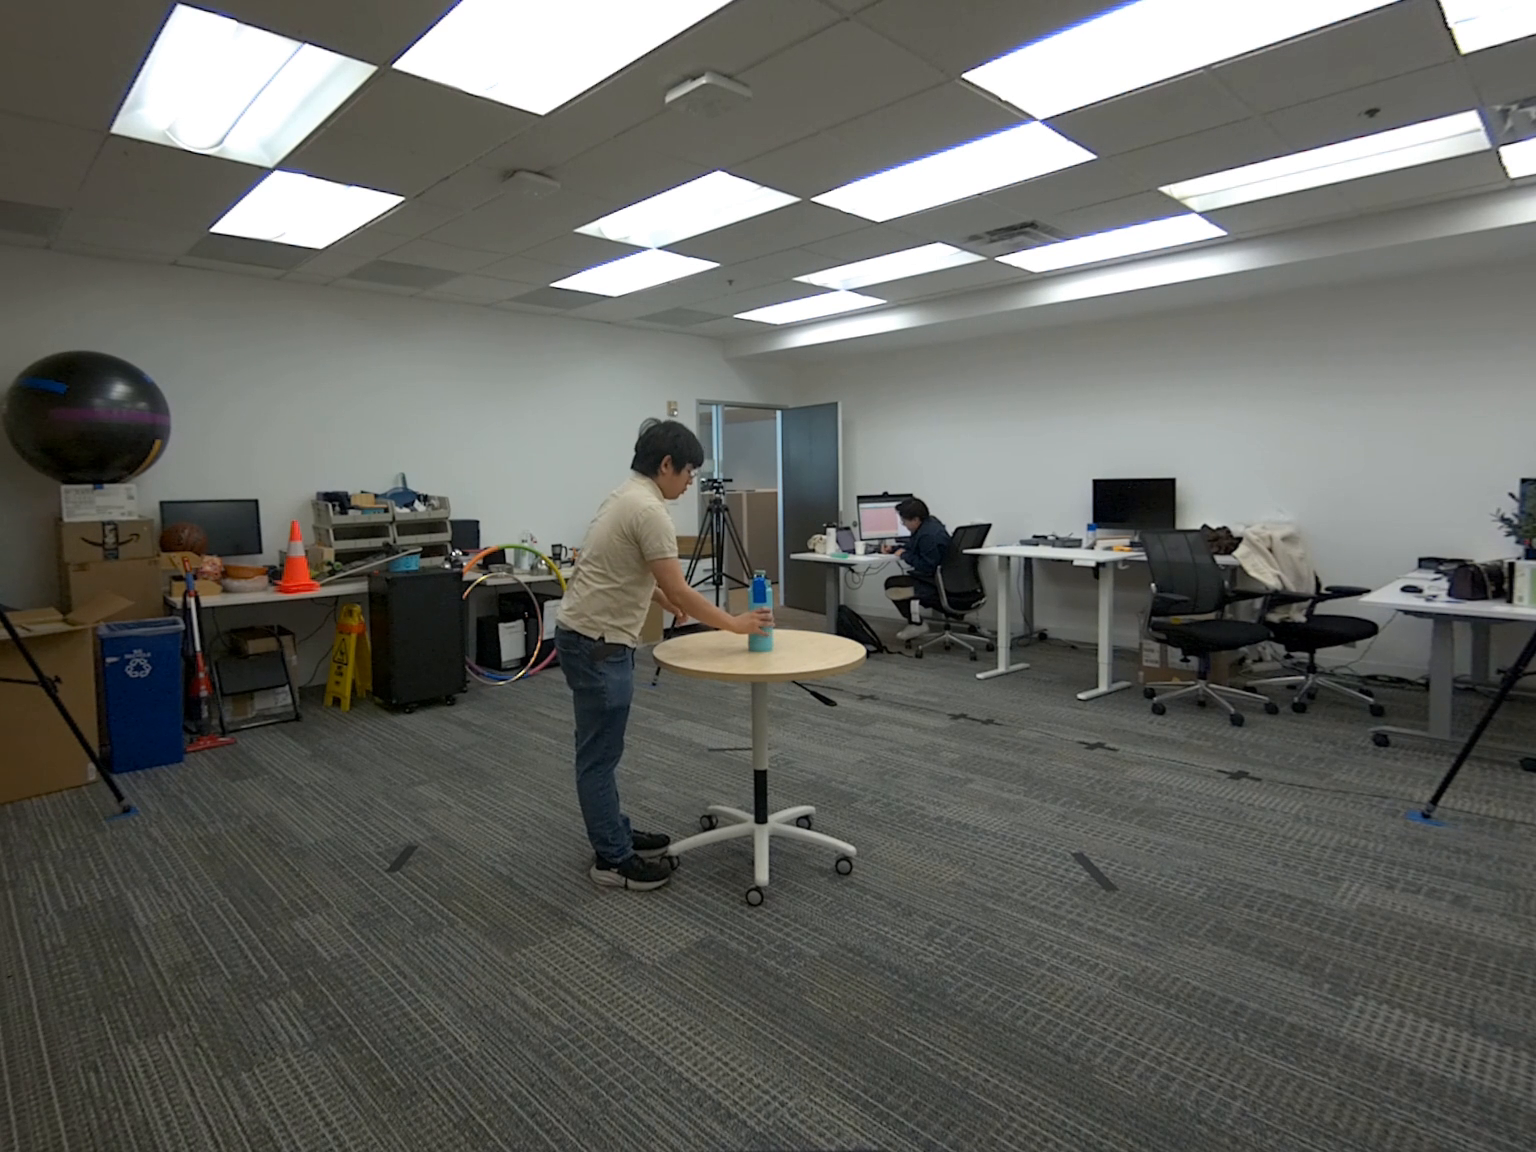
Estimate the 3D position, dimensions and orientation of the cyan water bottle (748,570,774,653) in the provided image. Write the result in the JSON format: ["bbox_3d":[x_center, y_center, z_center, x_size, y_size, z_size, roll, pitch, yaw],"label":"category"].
[{"bbox_3d":[-0.036,0.125,3.070,0.092,0.283,0.092,-3,1,-2],"label":"cyan water bottle"}]
